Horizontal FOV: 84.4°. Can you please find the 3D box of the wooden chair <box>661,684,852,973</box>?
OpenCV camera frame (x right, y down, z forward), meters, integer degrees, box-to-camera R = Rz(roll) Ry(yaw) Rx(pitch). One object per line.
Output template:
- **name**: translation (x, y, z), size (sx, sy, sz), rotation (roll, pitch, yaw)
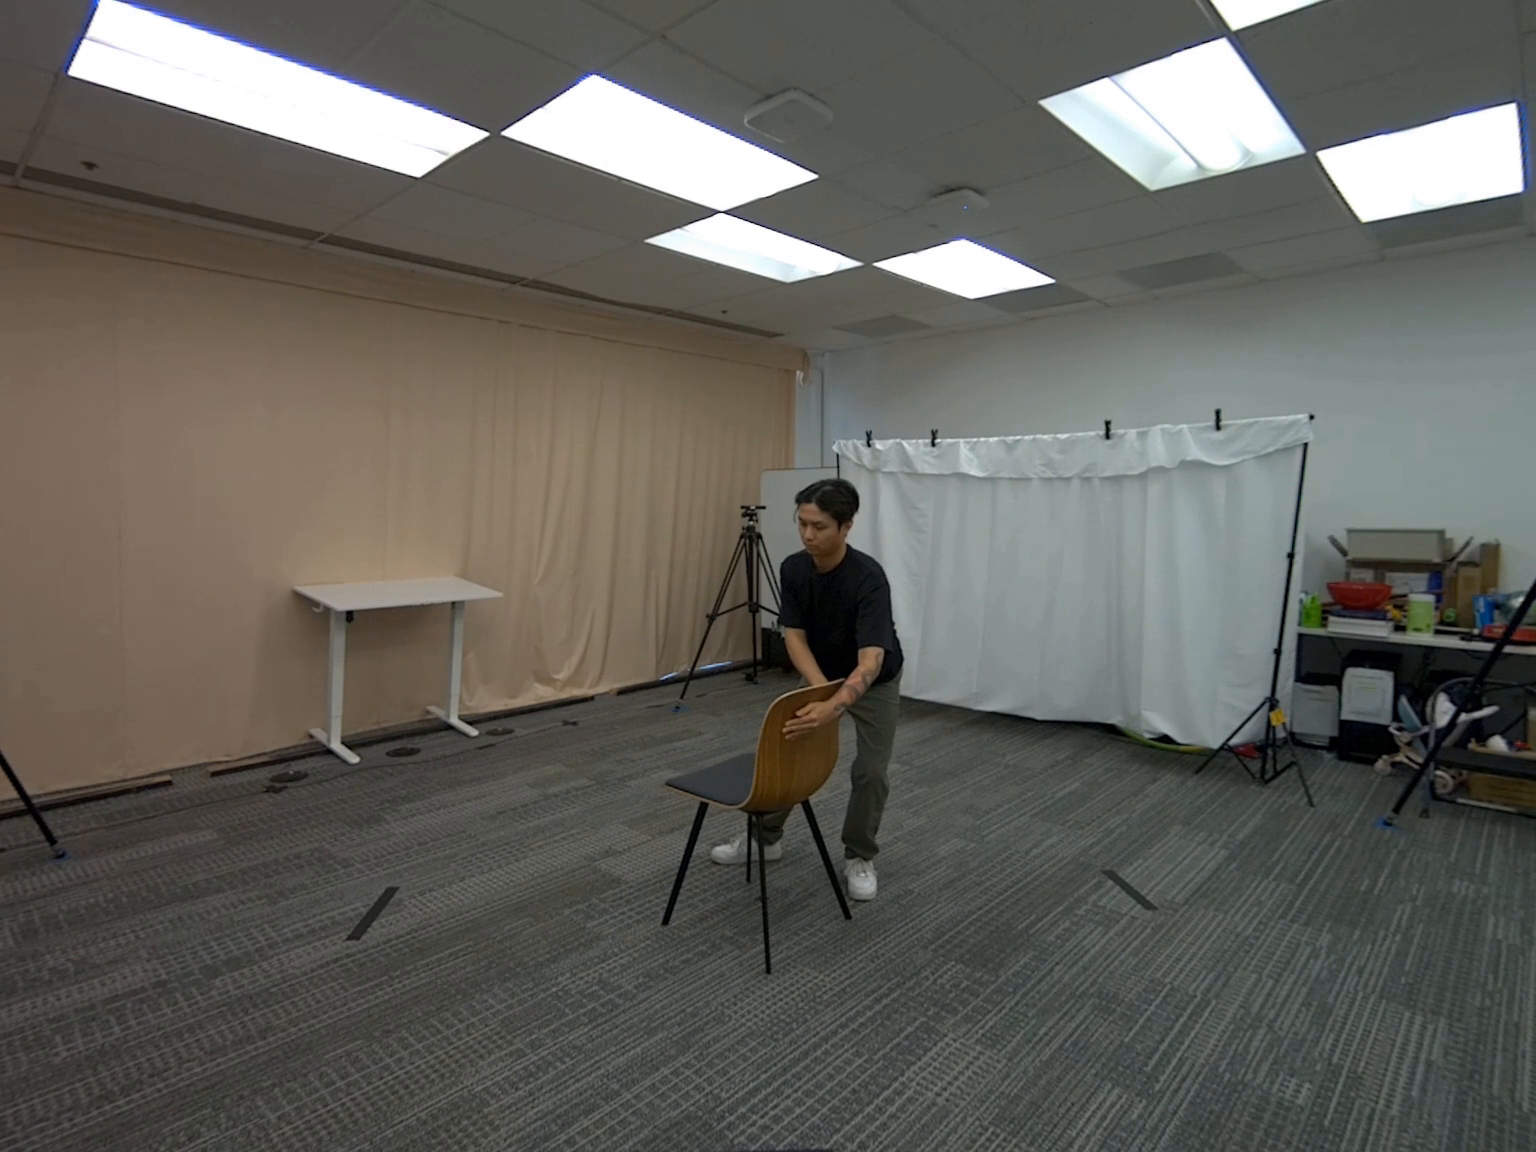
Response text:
- **wooden chair**: translation (-0.046, 0.730, 2.786), size (0.541, 0.874, 0.464), rotation (8, 8, 39)
